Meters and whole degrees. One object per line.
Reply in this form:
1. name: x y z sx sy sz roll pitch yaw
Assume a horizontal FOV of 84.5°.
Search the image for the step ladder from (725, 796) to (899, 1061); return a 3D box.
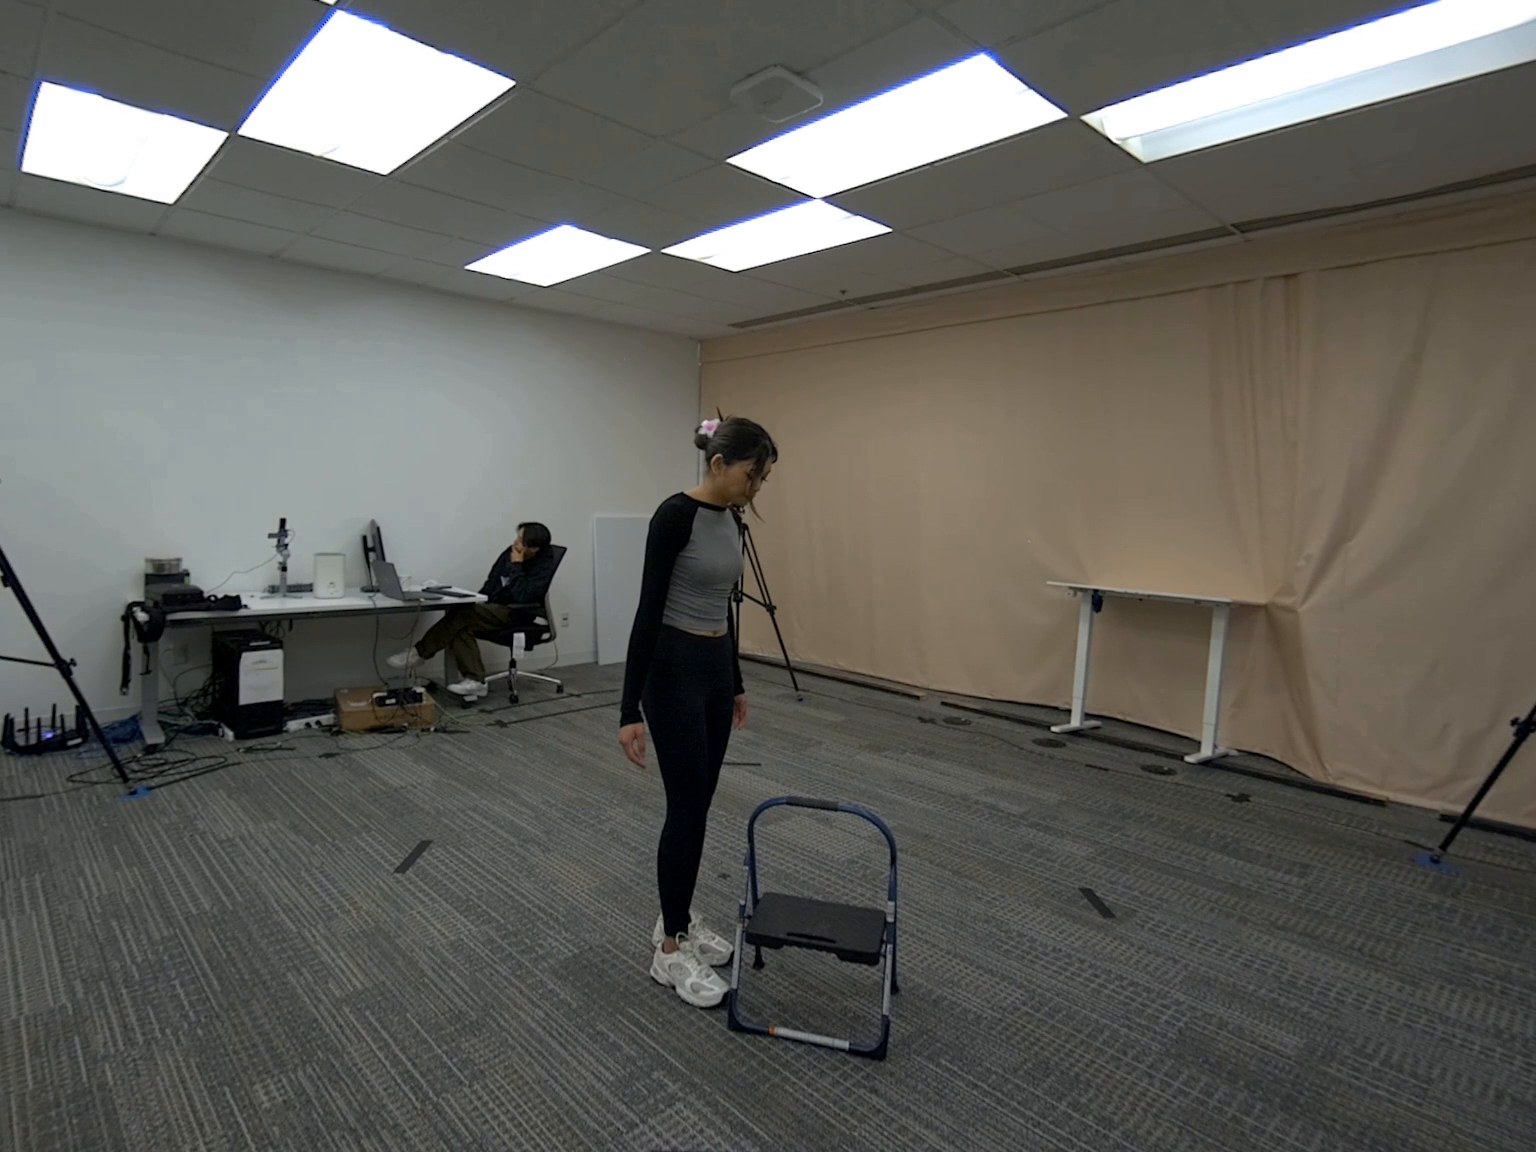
1. step ladder: 0.141 0.894 2.291 0.436 0.605 0.346 3 3 14
